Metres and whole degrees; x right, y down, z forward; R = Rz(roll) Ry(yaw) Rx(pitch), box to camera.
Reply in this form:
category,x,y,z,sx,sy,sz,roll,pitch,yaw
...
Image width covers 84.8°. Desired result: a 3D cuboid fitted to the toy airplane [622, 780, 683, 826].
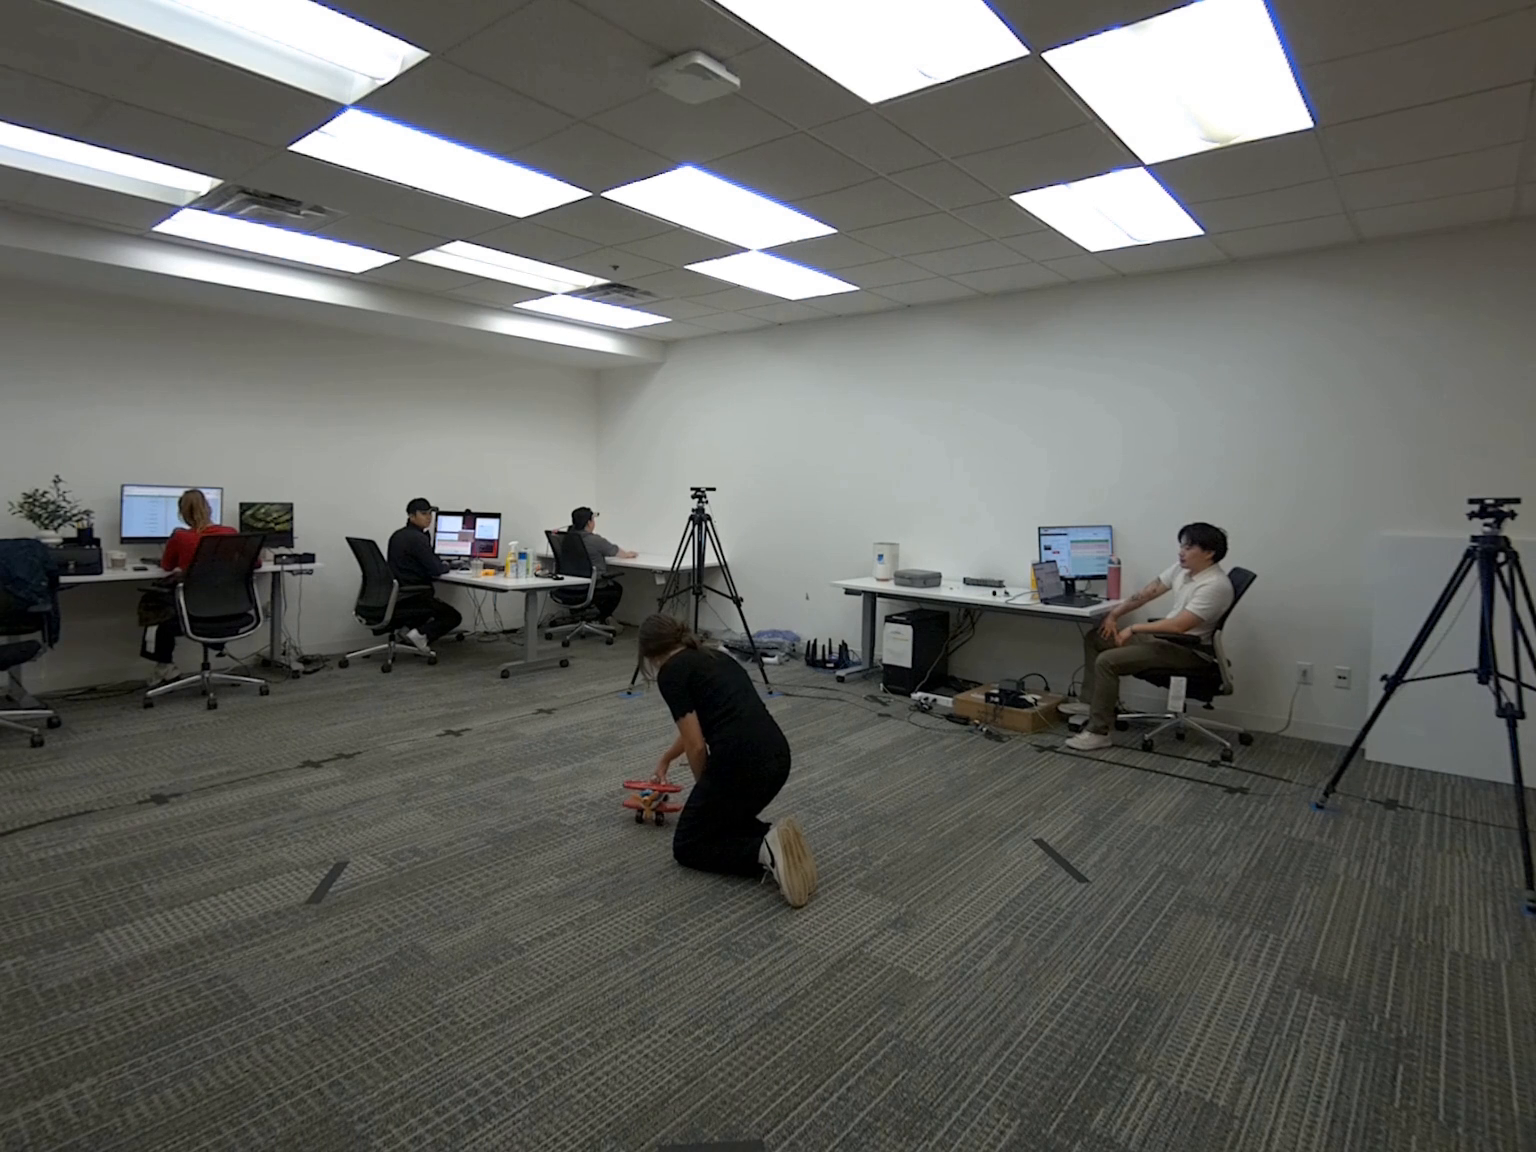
category,x,y,z,sx,sy,sz,roll,pitch,yaw
toy airplane,-0.506,0.929,3.591,0.247,0.154,0.267,-6,16,-17
